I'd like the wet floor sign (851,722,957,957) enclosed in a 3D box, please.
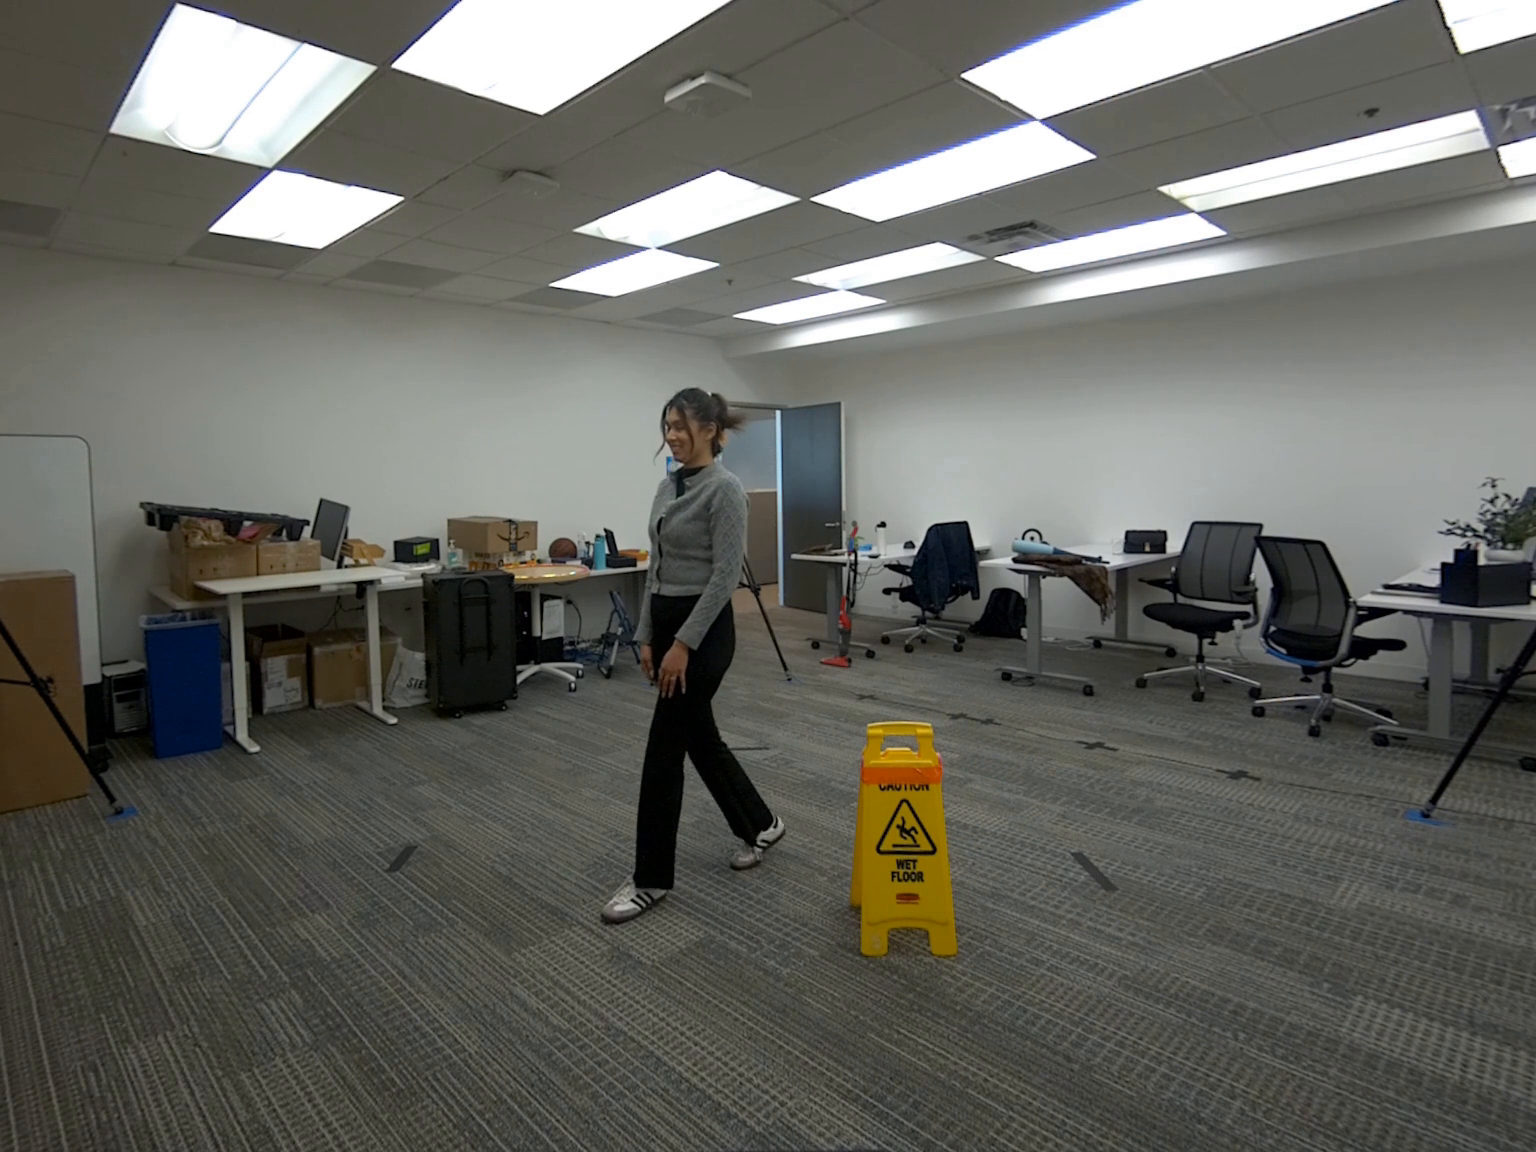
[{"bbox_3d":[0.405,0.769,2.612,0.282,0.643,0.291,-2,5,0],"label":"wet floor sign"}]
